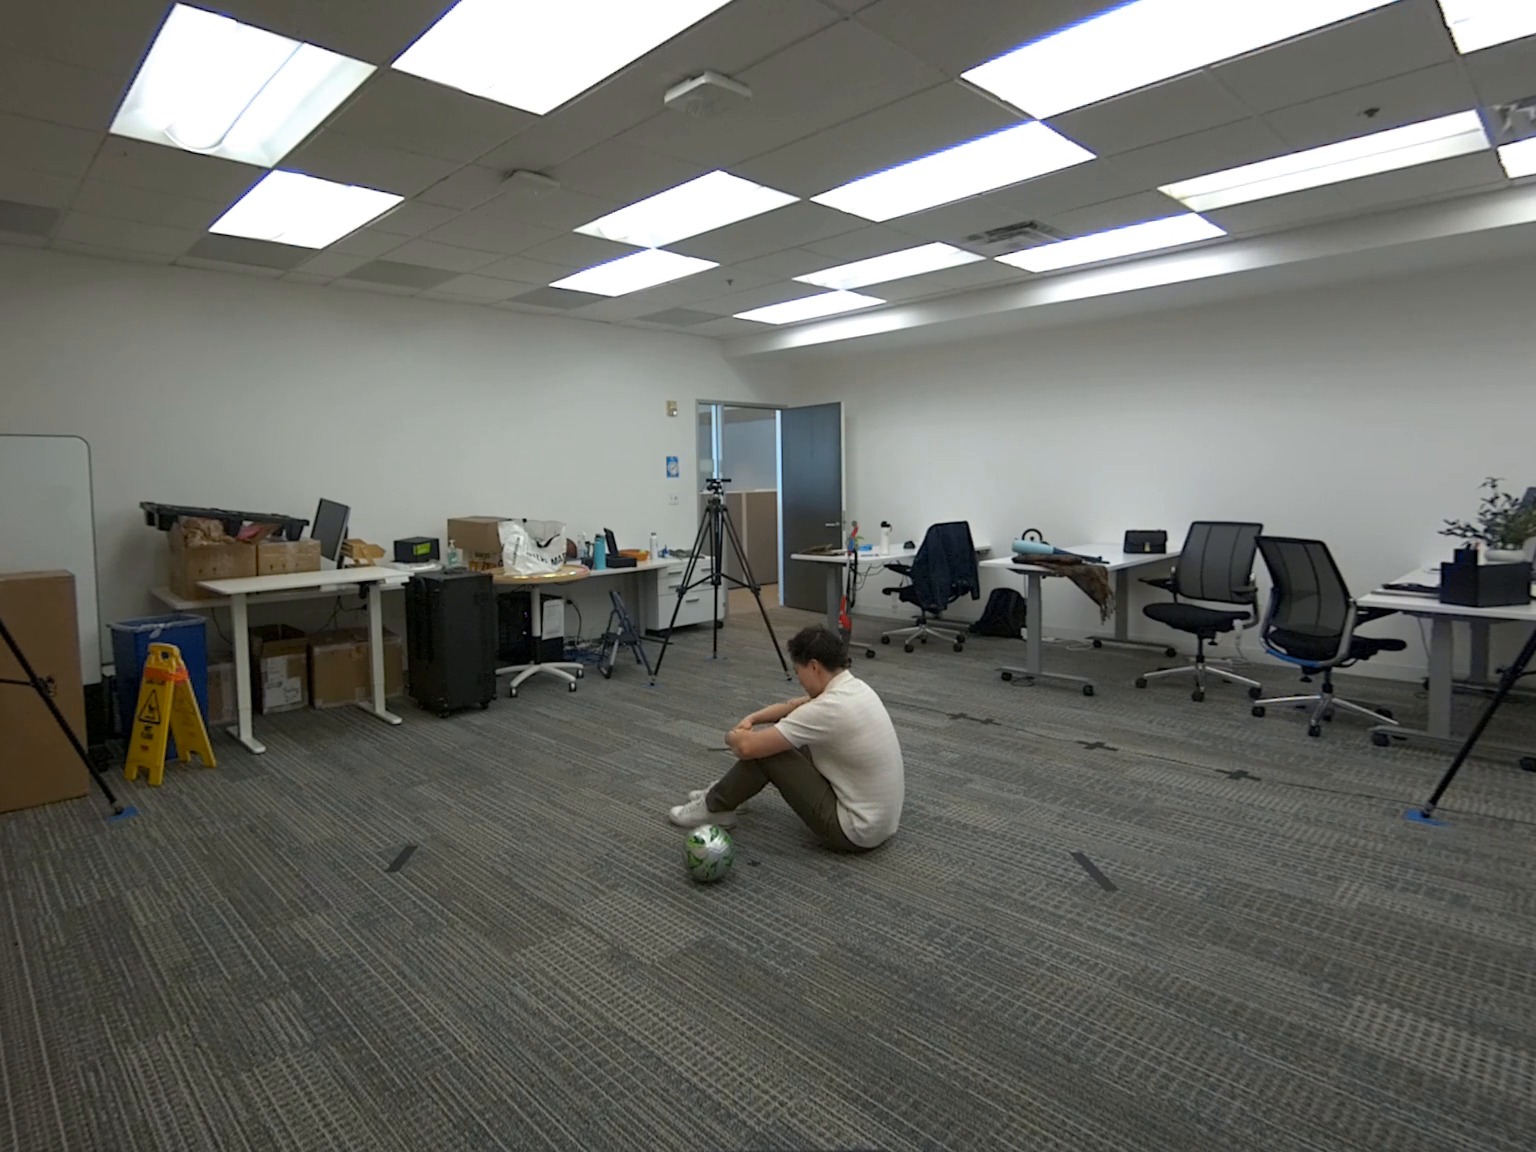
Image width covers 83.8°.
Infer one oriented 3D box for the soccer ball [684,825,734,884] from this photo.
[{"bbox_3d":[-0.205,0.967,2.987,0.187,0.187,0.188,-1,5,-2],"label":"soccer ball"}]
